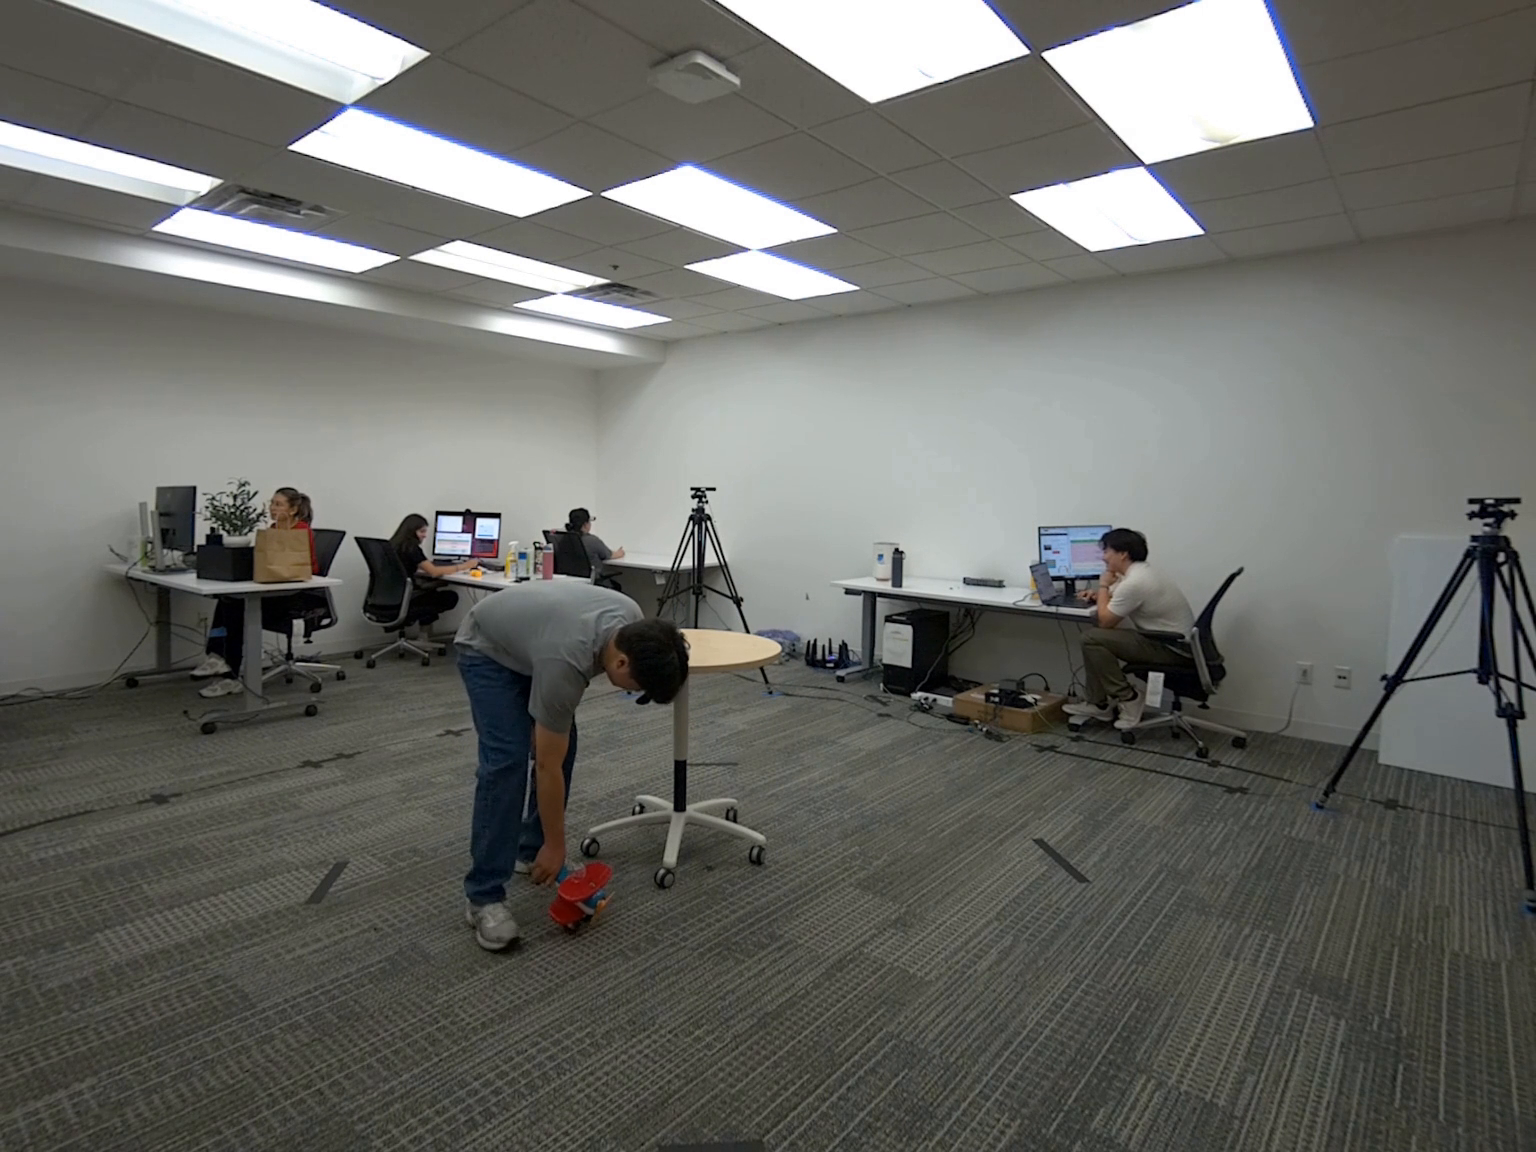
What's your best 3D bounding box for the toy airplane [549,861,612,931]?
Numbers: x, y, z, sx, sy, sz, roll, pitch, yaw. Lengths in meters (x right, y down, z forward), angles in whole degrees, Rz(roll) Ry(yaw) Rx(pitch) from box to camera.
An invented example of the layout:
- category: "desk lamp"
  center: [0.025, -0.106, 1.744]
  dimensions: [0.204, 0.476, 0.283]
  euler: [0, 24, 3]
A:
- category: "toy airplane"
  center: [-0.644, 0.989, 2.673]
  dimensions: [0.255, 0.156, 0.256]
  euler: [35, 15, -13]
